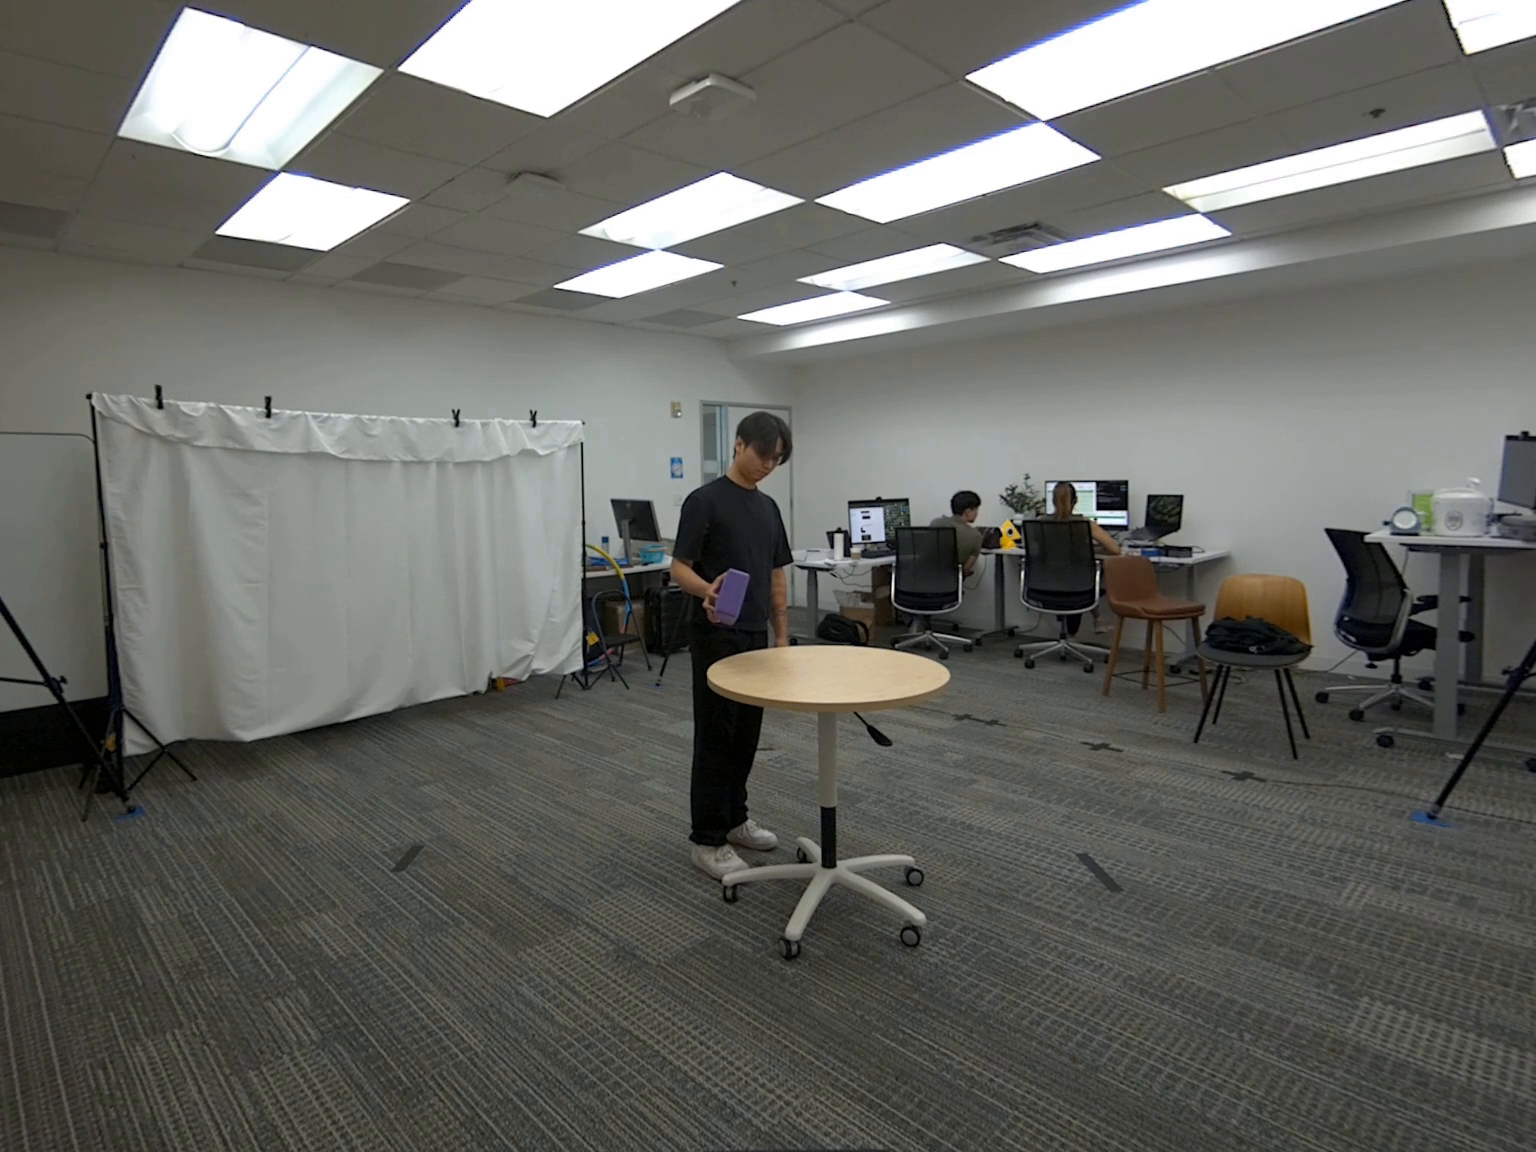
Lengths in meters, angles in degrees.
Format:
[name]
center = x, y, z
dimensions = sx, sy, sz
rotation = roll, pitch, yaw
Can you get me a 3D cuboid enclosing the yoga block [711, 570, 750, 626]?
[yoga block]
center = -0.118, 0.069, 2.808
dimensions = 0.077, 0.149, 0.226
rotation = 15, -5, 6
